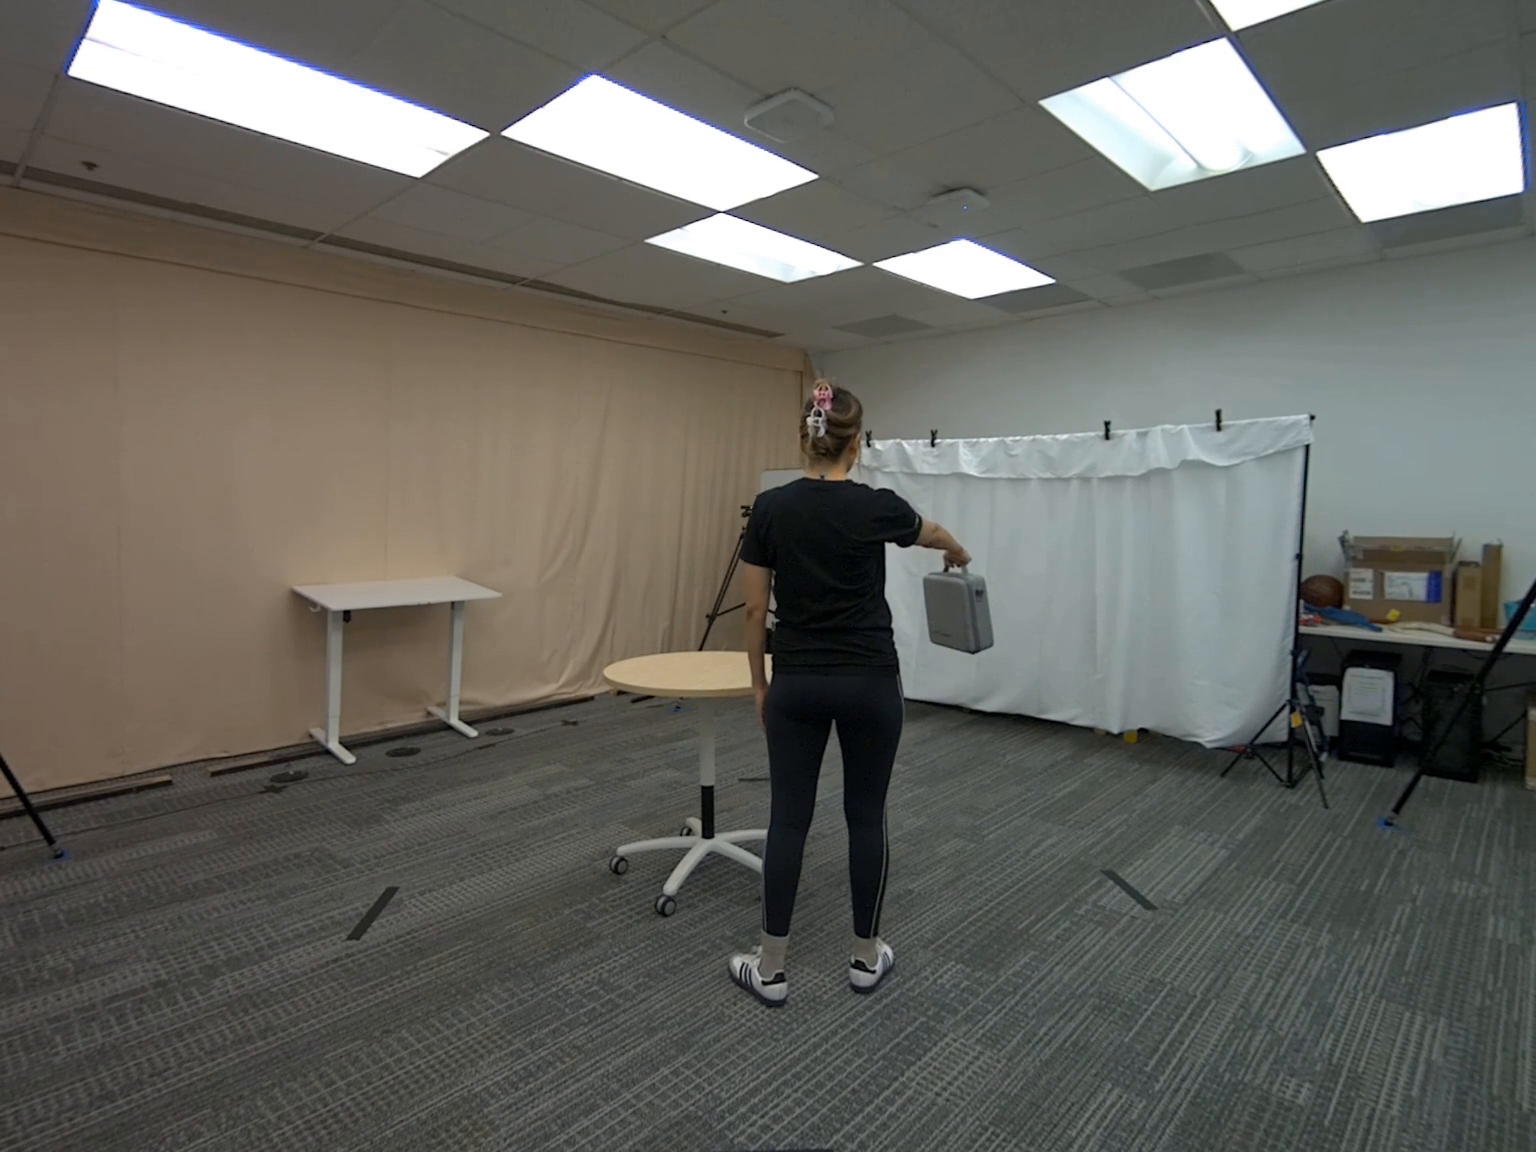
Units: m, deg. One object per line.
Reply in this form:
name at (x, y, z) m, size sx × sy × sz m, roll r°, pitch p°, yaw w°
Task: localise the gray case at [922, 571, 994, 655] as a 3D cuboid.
gray case at (0.634, 0.111, 2.837) m, size 0.102 × 0.259 × 0.262 m, roll -9°, pitch 7°, yaw -20°
